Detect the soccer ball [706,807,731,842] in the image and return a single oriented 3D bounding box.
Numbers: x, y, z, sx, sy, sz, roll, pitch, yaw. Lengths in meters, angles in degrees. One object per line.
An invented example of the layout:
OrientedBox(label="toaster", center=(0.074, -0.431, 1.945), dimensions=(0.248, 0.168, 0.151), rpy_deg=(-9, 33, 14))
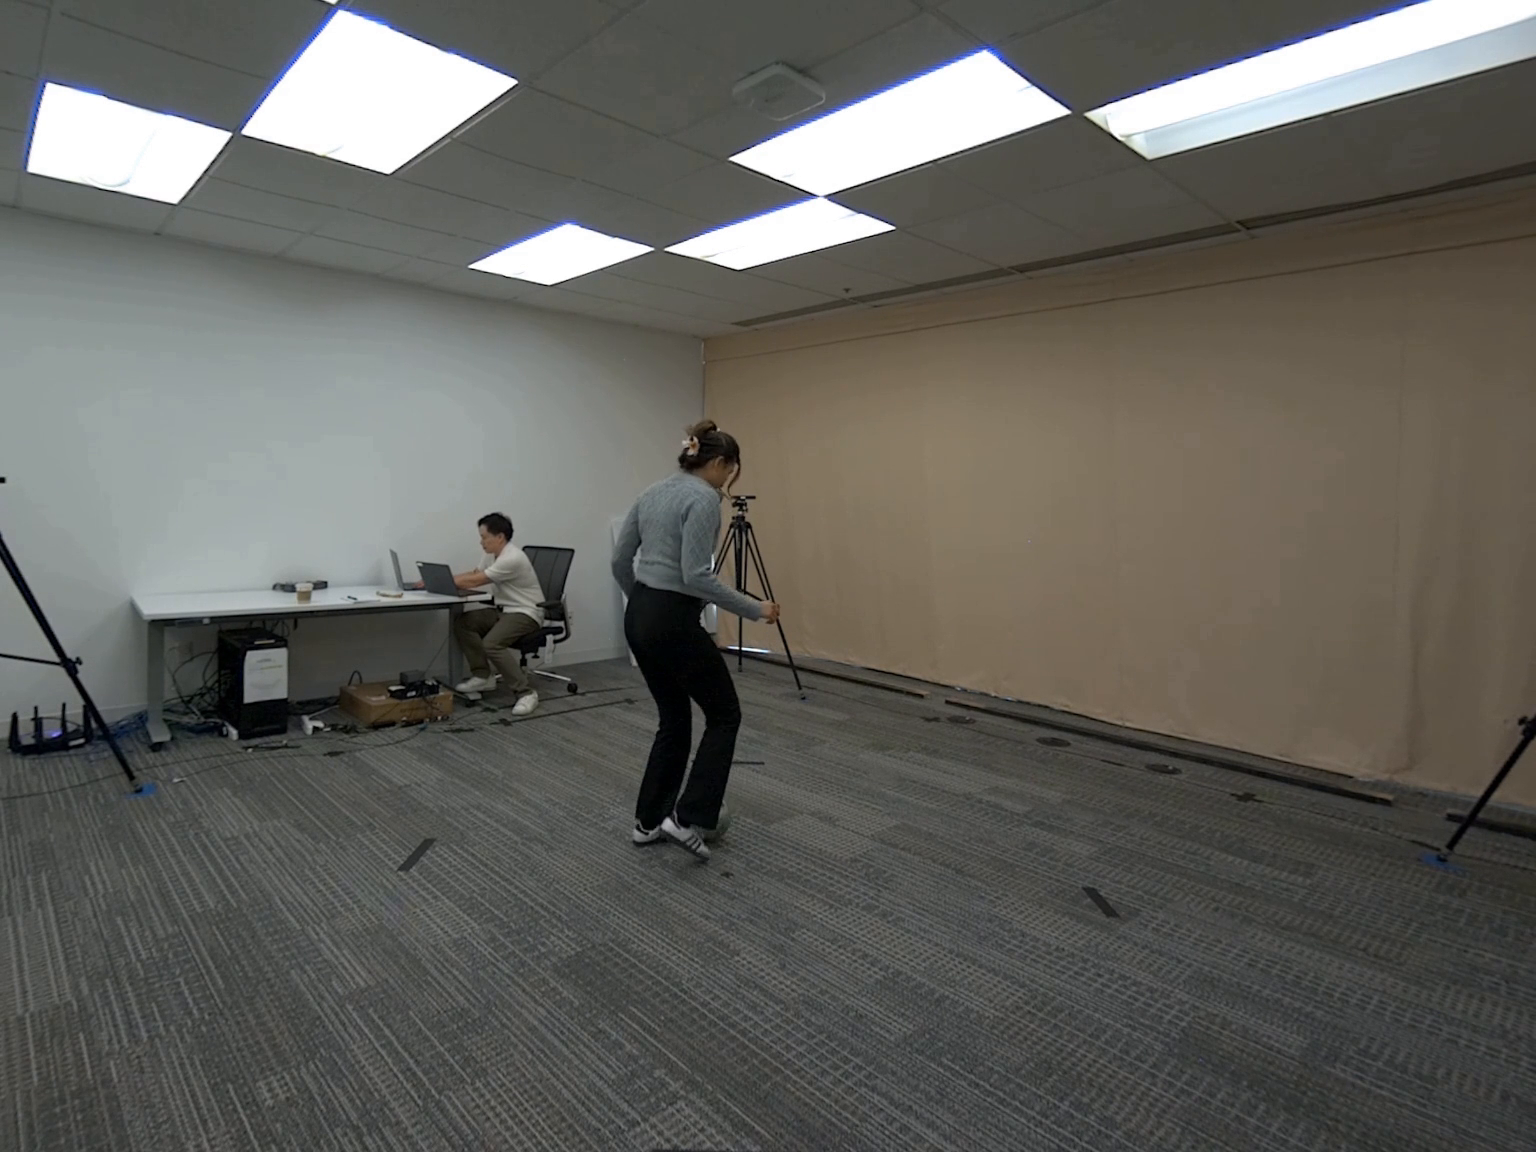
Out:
OrientedBox(label="soccer ball", center=(-0.241, 0.982, 3.440), dimensions=(0.187, 0.187, 0.188), rpy_deg=(1, 4, -1))
